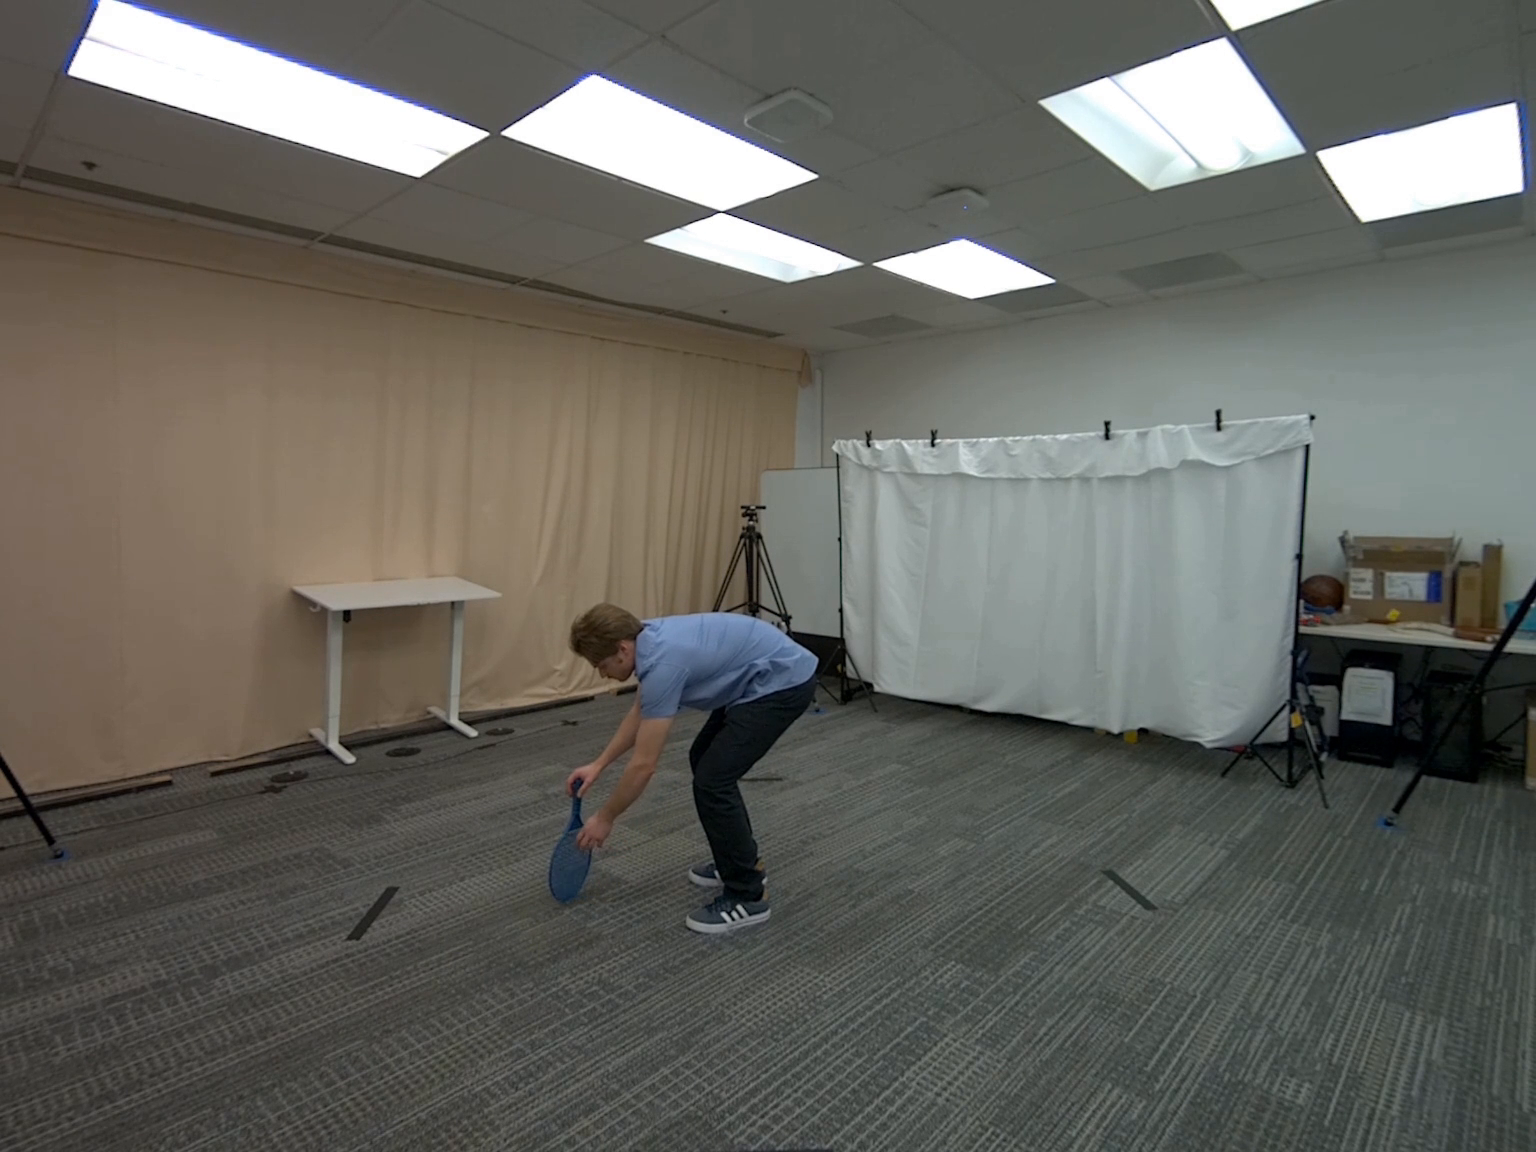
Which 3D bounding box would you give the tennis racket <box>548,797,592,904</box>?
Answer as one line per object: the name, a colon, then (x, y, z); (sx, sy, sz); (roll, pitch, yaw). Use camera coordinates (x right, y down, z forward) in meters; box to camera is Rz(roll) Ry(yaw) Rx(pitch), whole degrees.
tennis racket: (-0.682, 0.930, 2.977); (0.033, 0.432, 0.207); (7, 2, 29)
